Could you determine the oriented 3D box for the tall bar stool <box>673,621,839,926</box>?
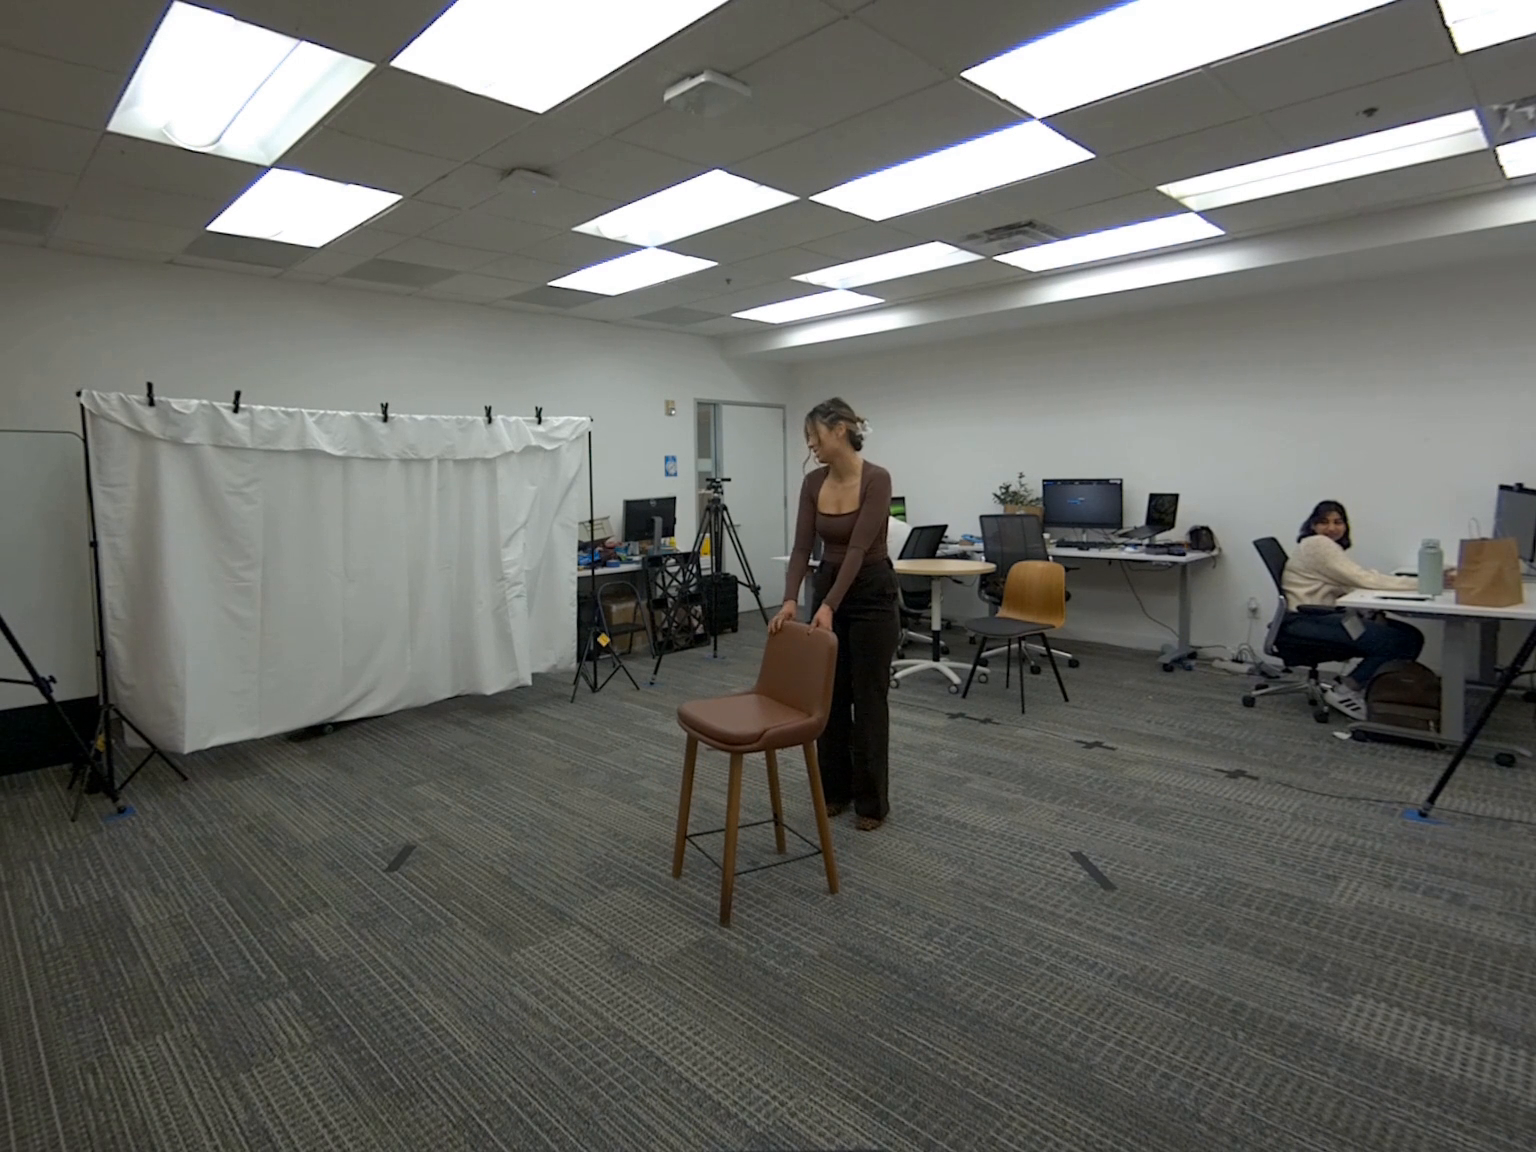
[{"bbox_3d":[-0.043,0.627,2.917,0.456,0.887,0.469,-1,4,-29],"label":"tall bar stool"}]
